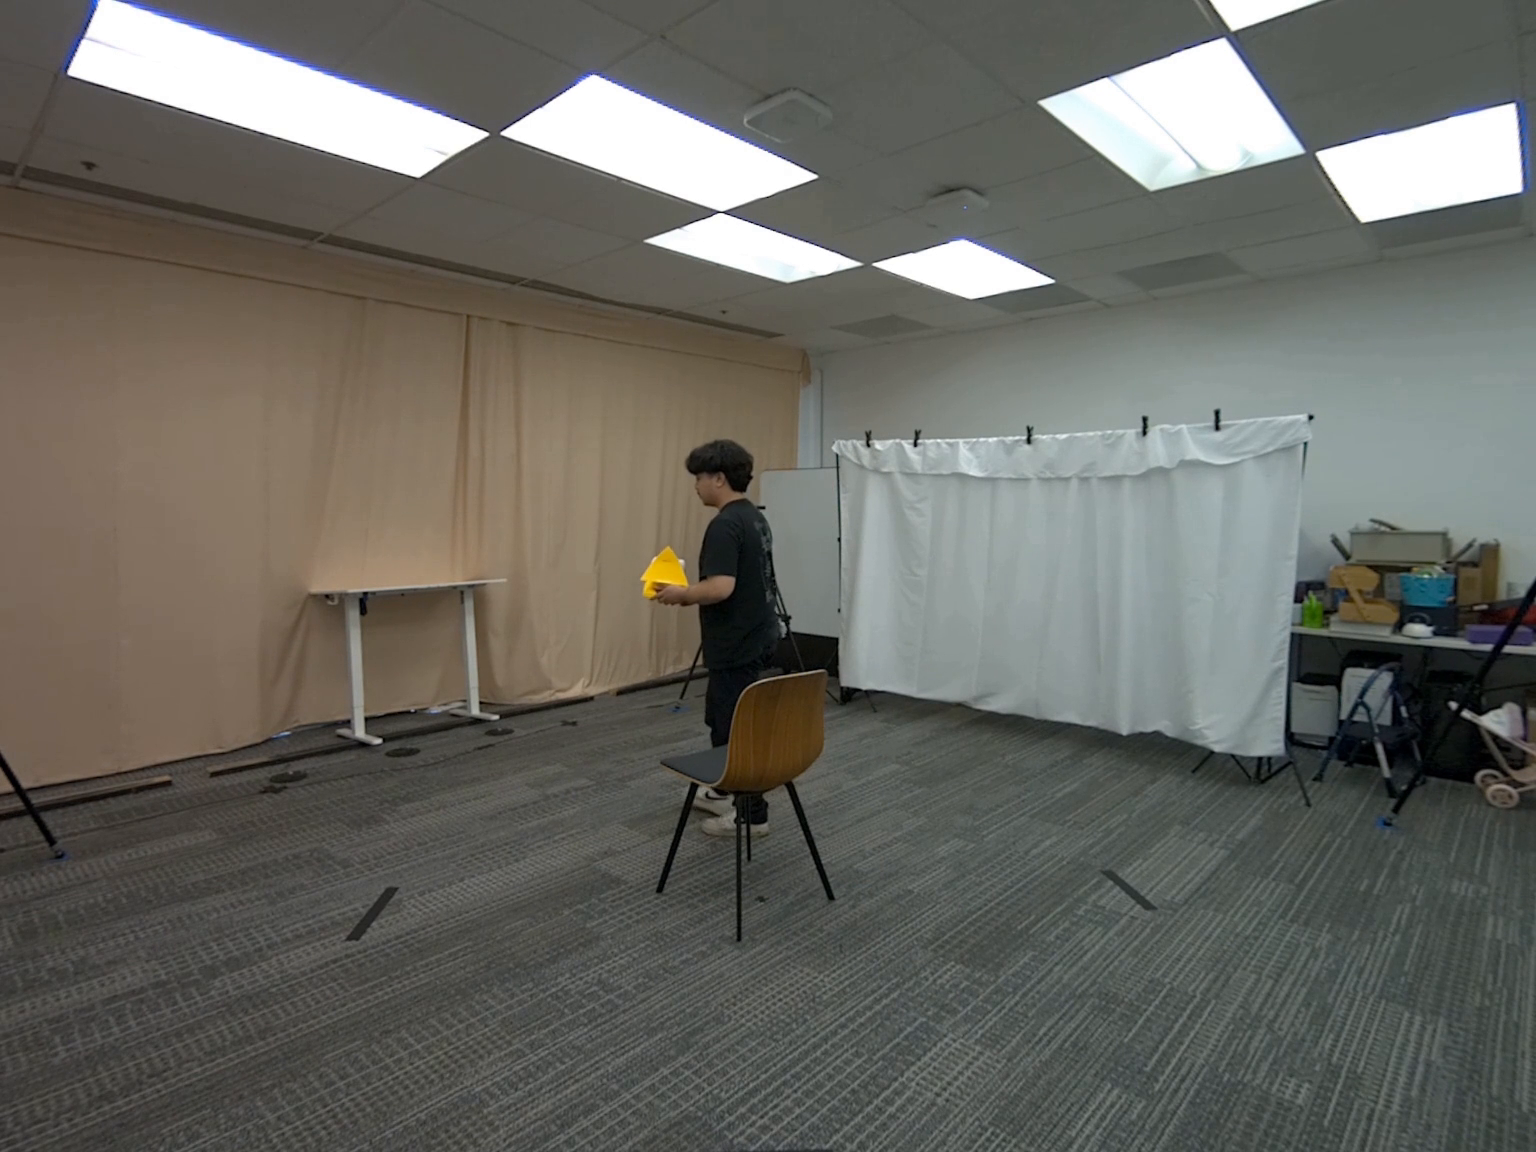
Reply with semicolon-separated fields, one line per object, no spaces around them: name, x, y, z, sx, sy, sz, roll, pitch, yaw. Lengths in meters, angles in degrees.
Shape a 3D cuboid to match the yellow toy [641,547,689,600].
yellow toy;-0.426;-0.024;3.617;0.205;0.229;0.193;7;11;2
